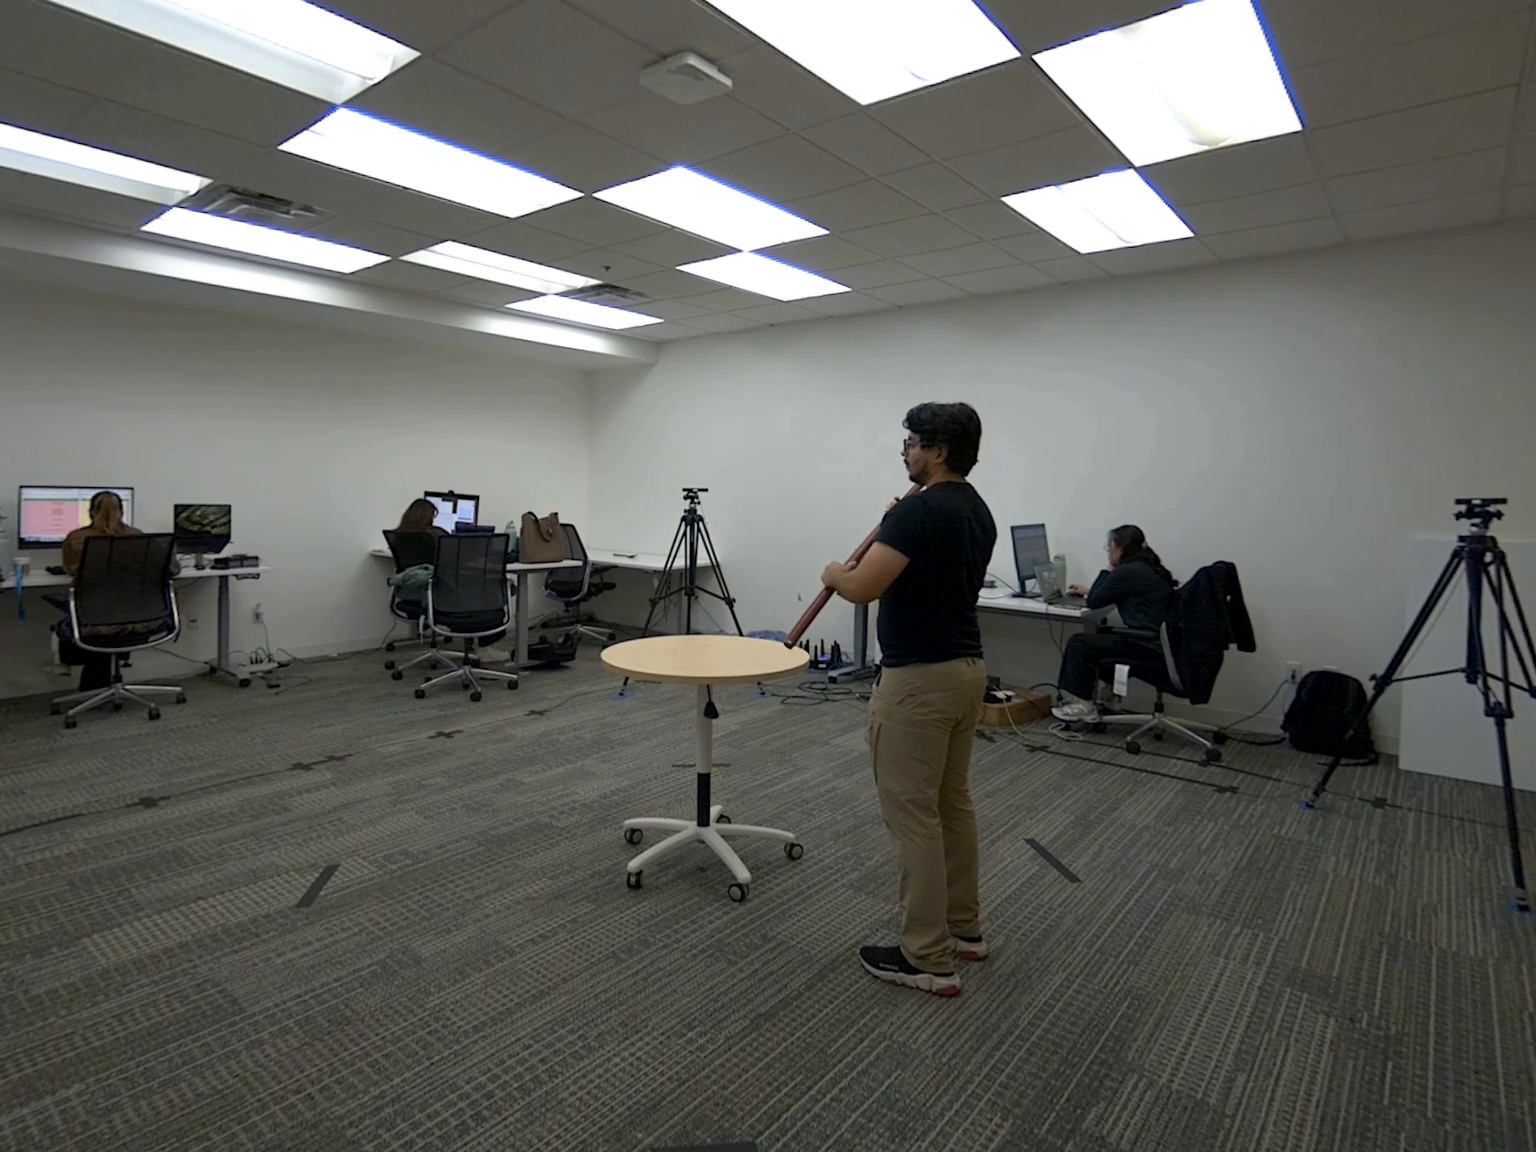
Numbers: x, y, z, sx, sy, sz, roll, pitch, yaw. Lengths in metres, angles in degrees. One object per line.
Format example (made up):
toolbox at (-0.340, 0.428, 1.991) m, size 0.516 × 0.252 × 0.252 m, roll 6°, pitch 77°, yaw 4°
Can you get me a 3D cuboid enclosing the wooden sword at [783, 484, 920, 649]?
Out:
wooden sword at (0.342, -0.118, 2.802) m, size 0.025 × 1.023 × 0.050 m, roll 30°, pitch -29°, yaw 25°
